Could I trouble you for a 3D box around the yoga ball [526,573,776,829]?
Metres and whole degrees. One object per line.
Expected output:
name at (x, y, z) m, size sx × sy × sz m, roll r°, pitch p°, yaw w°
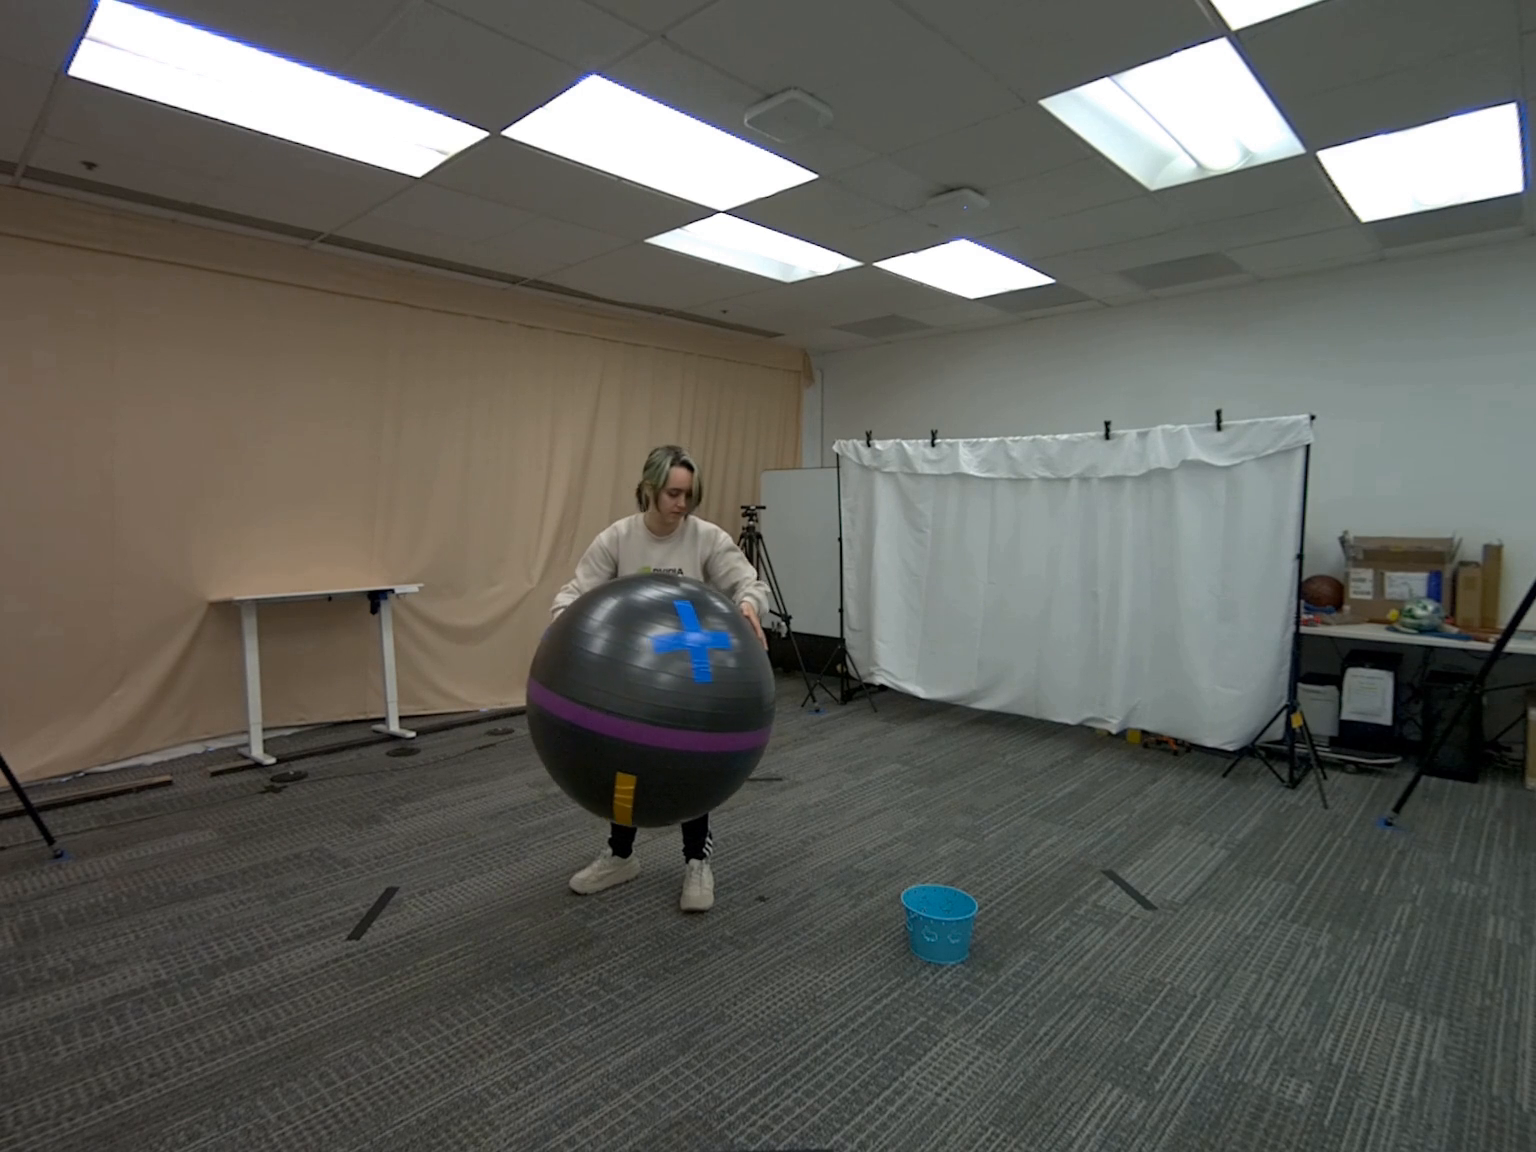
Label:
yoga ball at (-0.350, 0.378, 2.560) m, size 0.757 × 0.756 × 0.760 m, roll 0°, pitch 4°, yaw -2°
